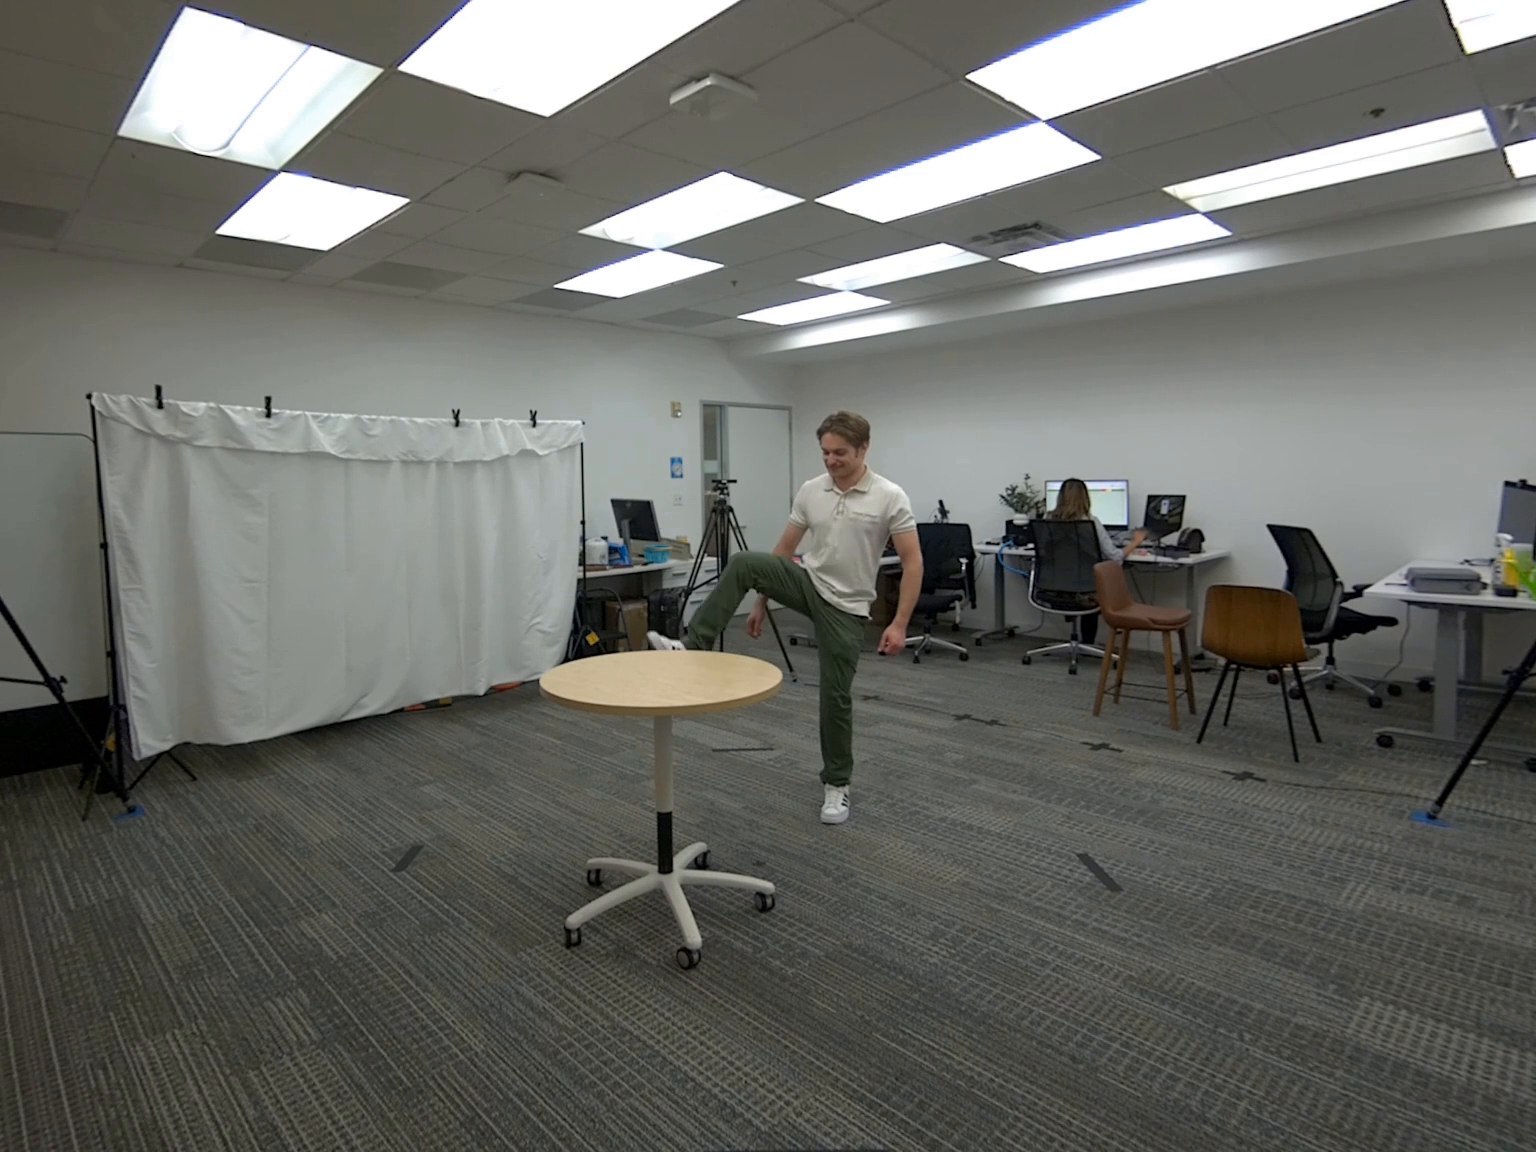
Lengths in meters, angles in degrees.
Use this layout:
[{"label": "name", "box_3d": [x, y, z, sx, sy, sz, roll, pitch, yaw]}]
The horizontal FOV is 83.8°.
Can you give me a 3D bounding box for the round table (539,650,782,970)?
[{"label": "round table", "box_3d": [-0.333, 0.705, 2.748, 0.763, 0.791, 0.768, -1, 5, -2]}]
